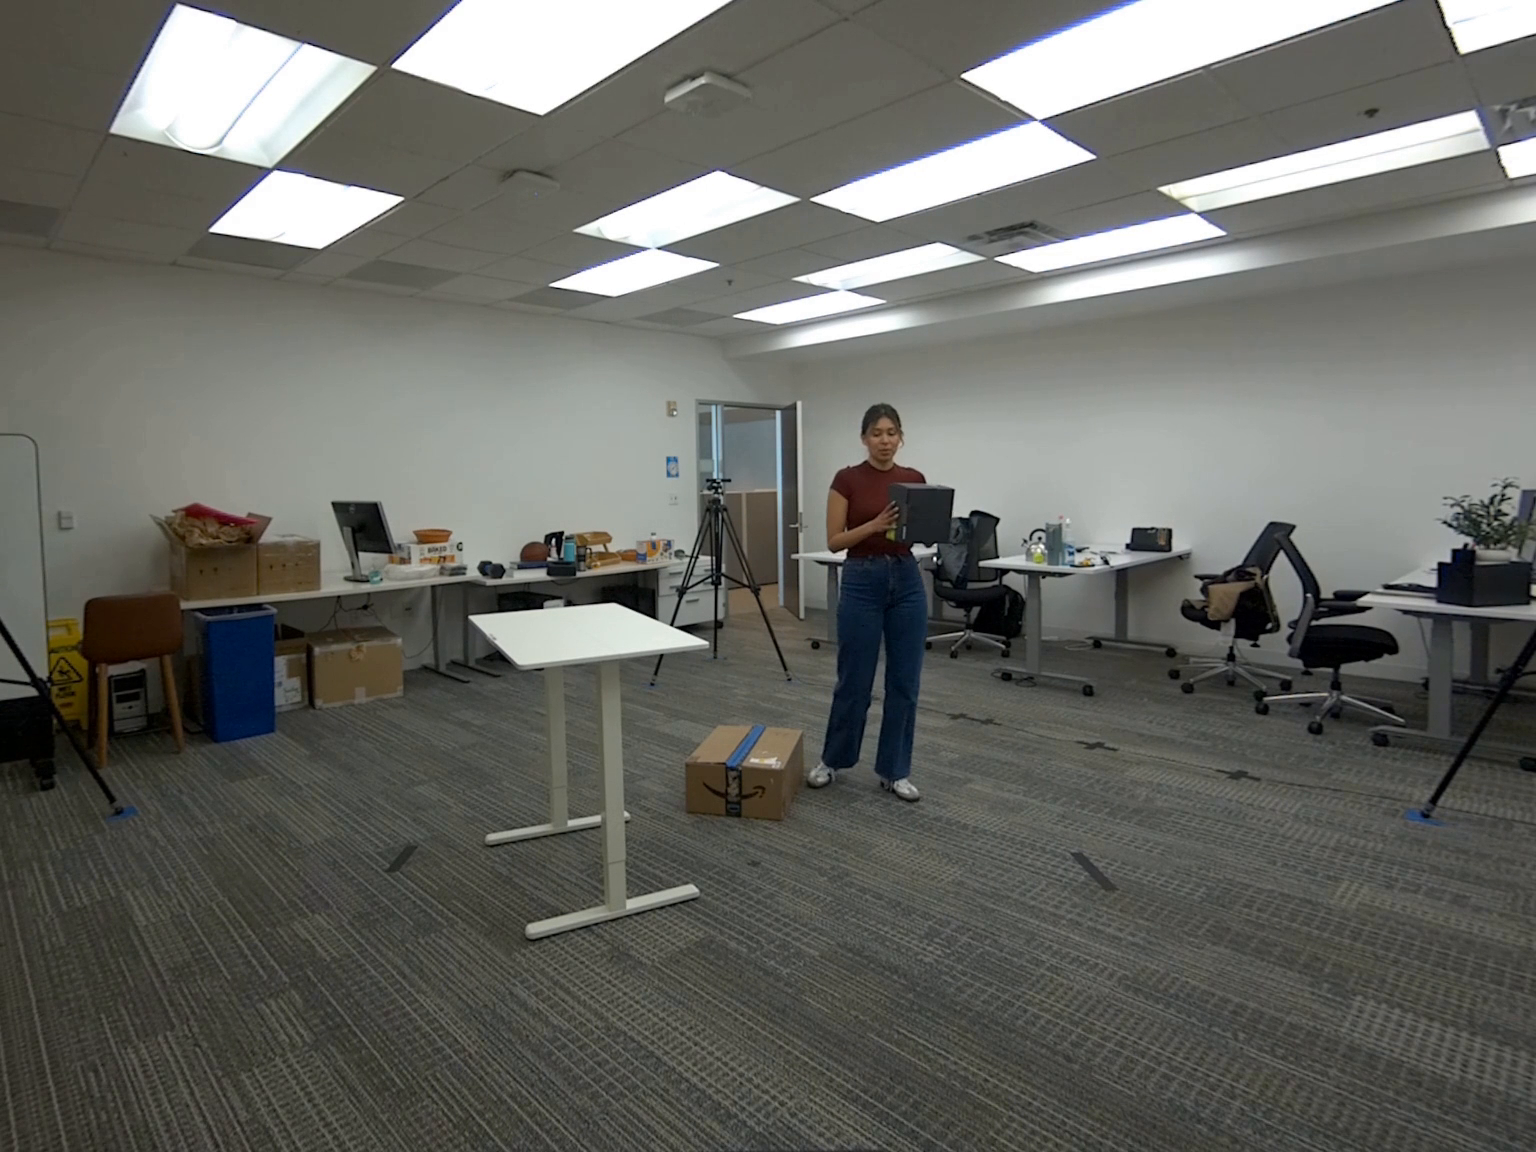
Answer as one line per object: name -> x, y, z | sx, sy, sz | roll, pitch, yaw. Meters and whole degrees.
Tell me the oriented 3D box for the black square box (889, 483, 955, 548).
black square box -> 0.616, -0.254, 3.465 | 0.214, 0.226, 0.159 | 0, 11, -13
